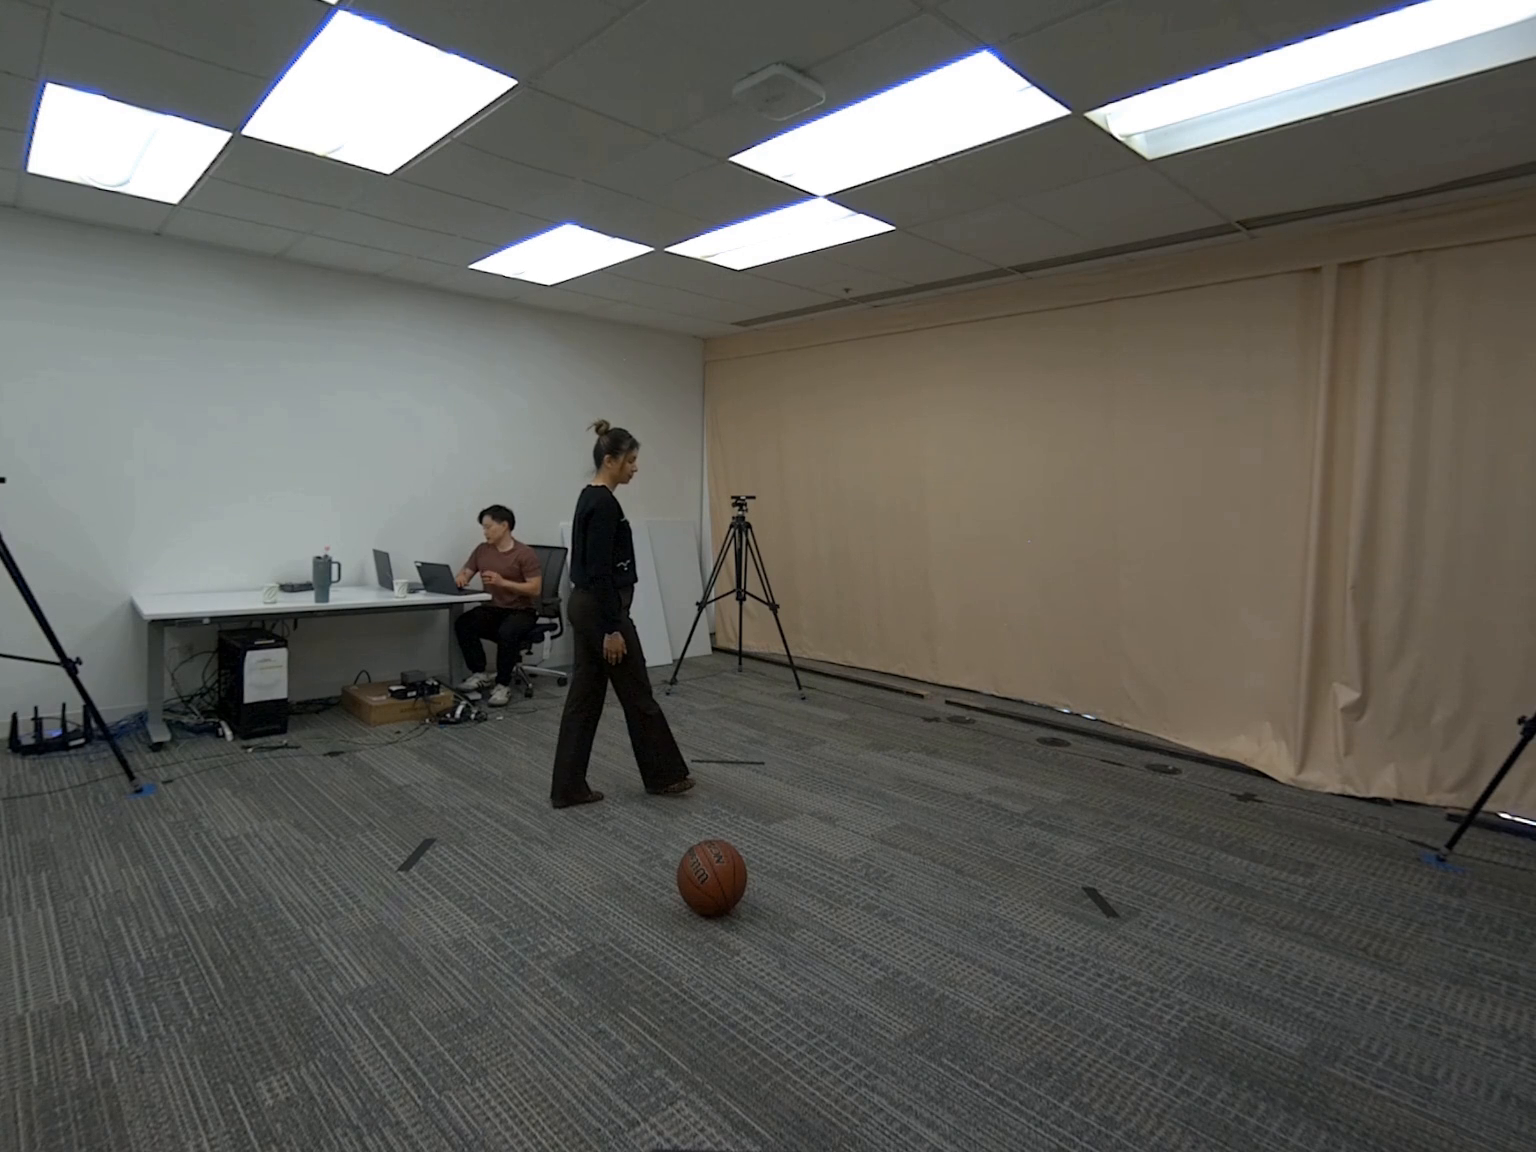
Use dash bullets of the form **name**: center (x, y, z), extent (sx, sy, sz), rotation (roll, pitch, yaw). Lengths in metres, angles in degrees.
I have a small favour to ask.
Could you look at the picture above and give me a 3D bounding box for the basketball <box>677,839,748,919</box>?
- **basketball**: center (-0.195, 1.009, 2.821), extent (0.236, 0.235, 0.237), rotation (1, 4, -1)
